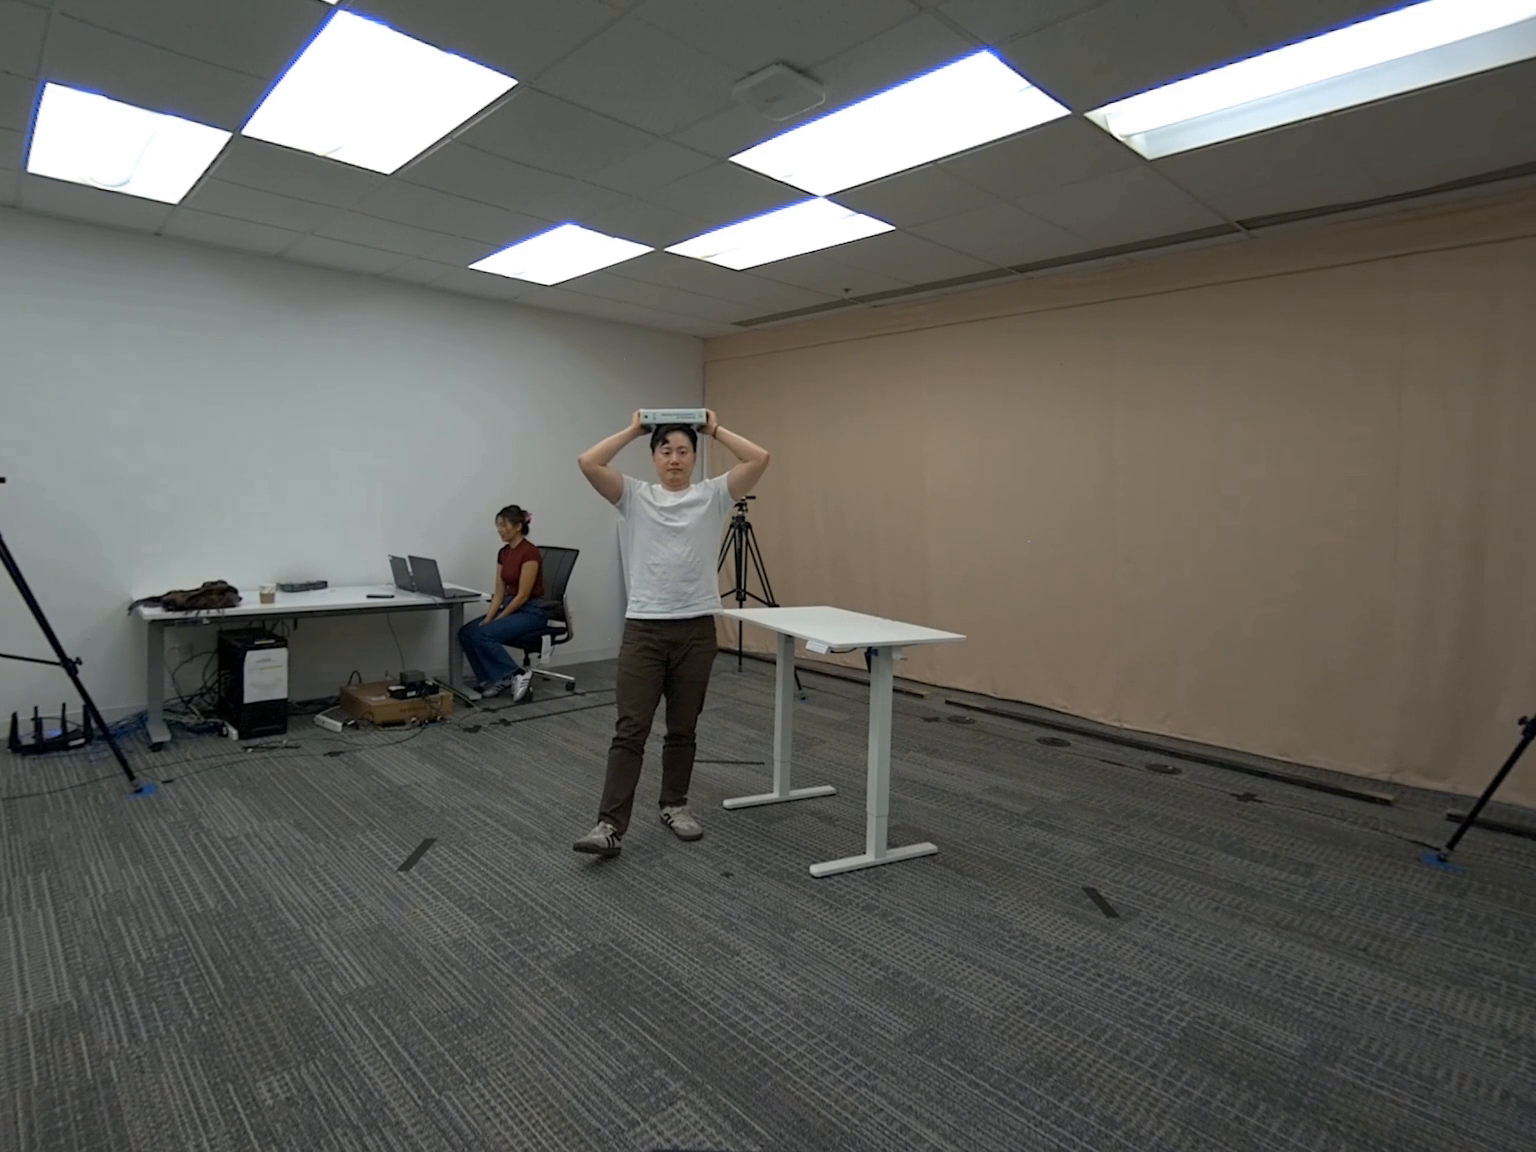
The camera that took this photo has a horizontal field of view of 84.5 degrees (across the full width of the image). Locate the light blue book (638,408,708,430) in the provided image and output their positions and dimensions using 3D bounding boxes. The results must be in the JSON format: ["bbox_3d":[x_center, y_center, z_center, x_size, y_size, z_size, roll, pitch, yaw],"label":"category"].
[{"bbox_3d":[-0.403,-0.633,3.424,0.260,0.059,0.191,-1,-2,-2],"label":"light blue book"}]
